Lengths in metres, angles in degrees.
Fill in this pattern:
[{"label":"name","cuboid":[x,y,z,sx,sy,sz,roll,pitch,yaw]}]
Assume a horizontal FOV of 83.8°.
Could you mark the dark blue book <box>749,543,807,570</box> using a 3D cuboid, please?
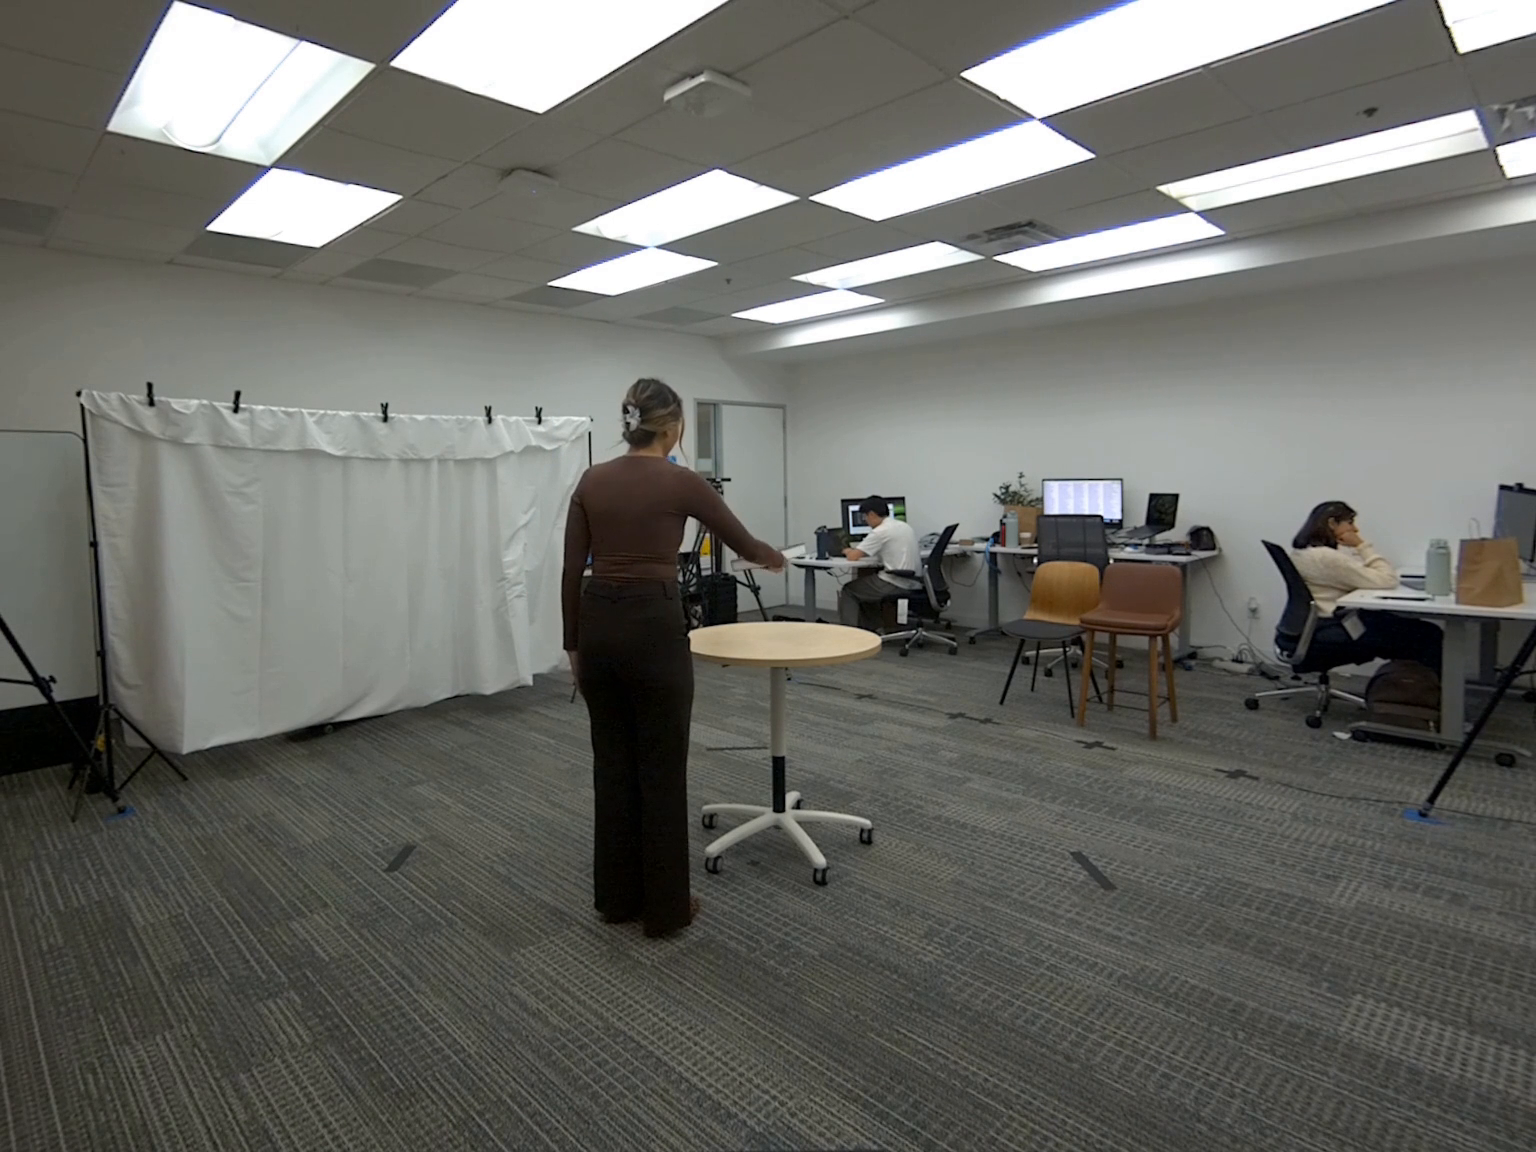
[{"label":"dark blue book","cuboid":[0.003,-0.070,3.166,0.240,0.045,0.167,-16,7,-41]}]
